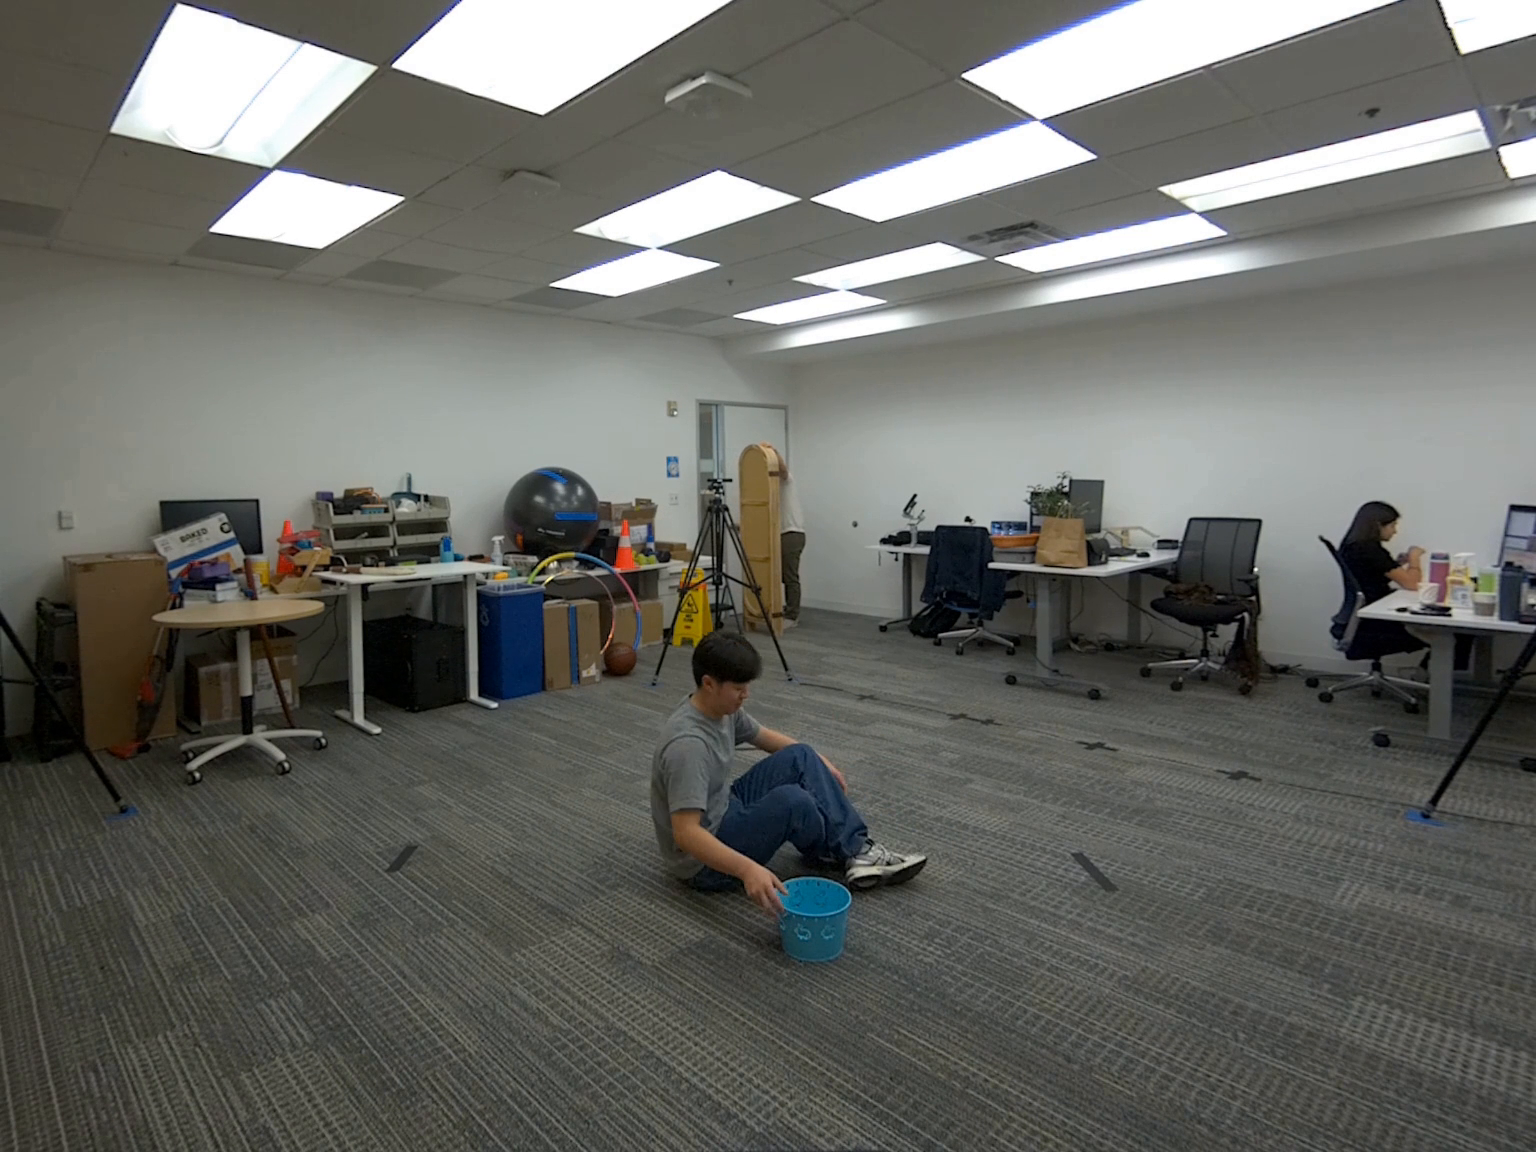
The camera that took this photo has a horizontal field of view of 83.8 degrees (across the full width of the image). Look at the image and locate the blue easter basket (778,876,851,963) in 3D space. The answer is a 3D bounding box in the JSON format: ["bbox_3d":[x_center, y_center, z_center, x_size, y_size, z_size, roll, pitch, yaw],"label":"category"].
[{"bbox_3d":[0.134,1.033,2.556,0.243,0.155,0.245,0,7,-2],"label":"blue easter basket"}]
